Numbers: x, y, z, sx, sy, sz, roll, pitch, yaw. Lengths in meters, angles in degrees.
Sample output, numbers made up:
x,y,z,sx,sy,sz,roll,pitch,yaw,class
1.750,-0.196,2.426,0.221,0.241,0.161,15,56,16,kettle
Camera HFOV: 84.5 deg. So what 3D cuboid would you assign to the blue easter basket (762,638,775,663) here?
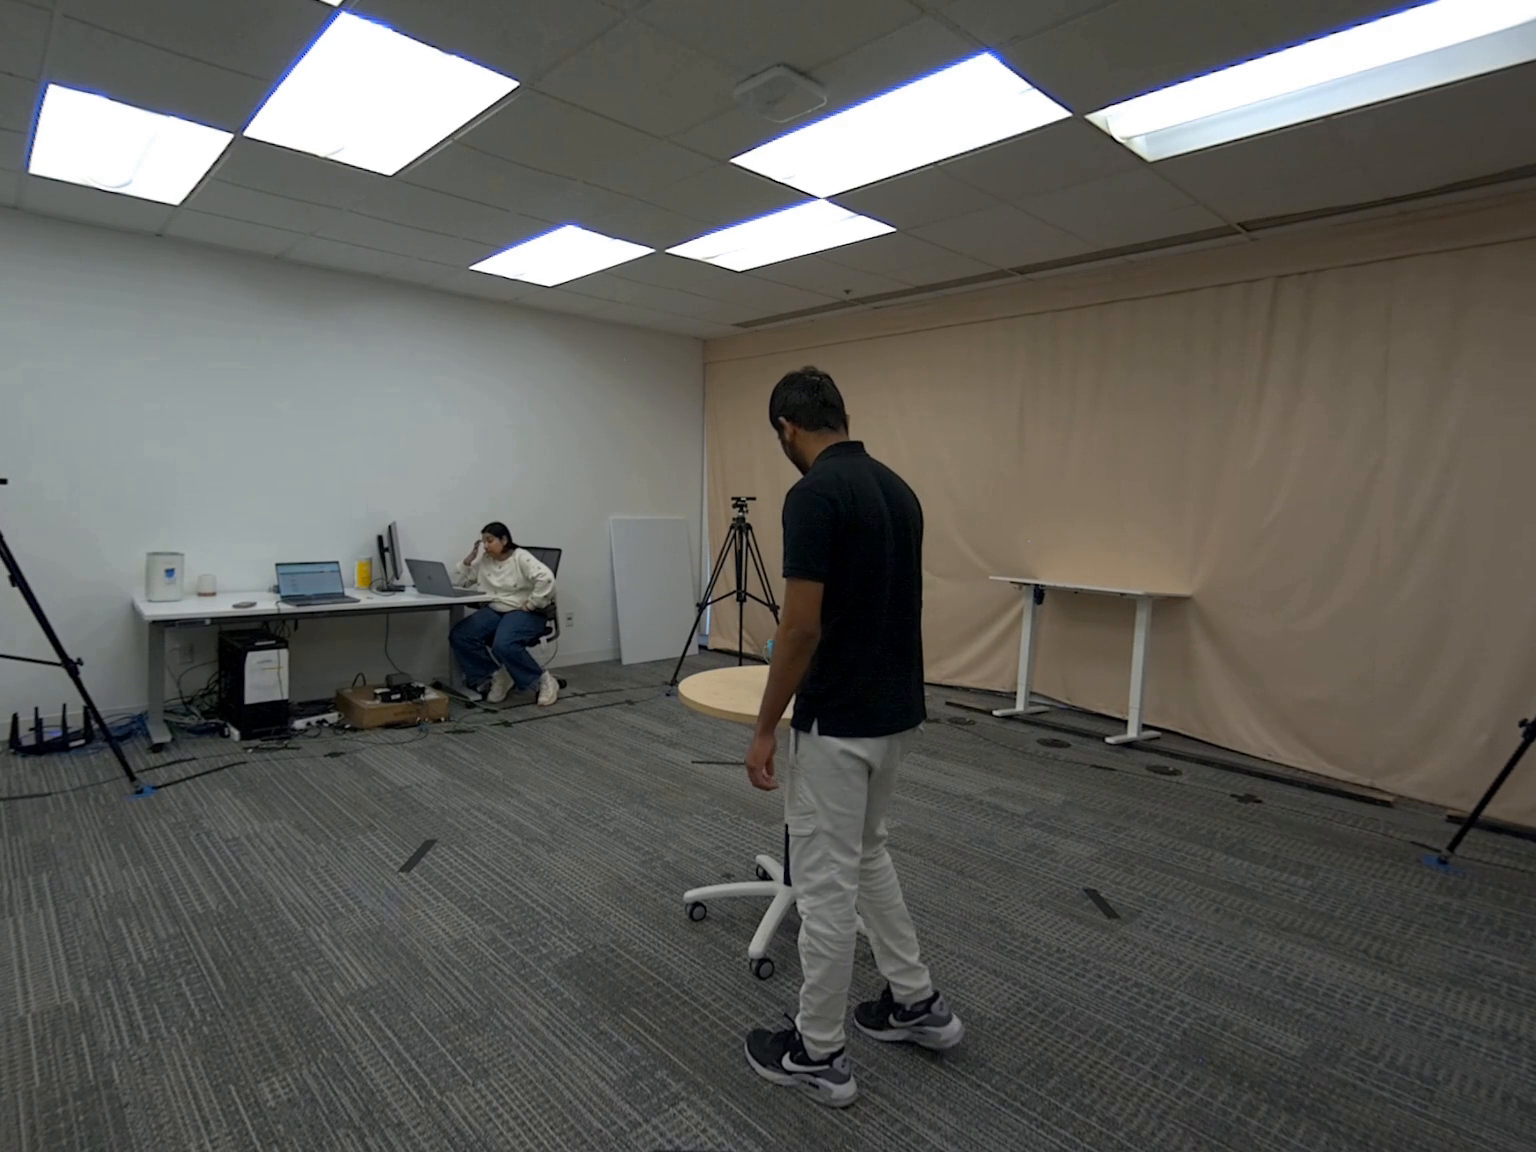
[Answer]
x,y,z,sx,sy,sz,roll,pitch,yaw,class
0.112,0.297,2.691,0.243,0.155,0.244,3,5,-2,blue easter basket
